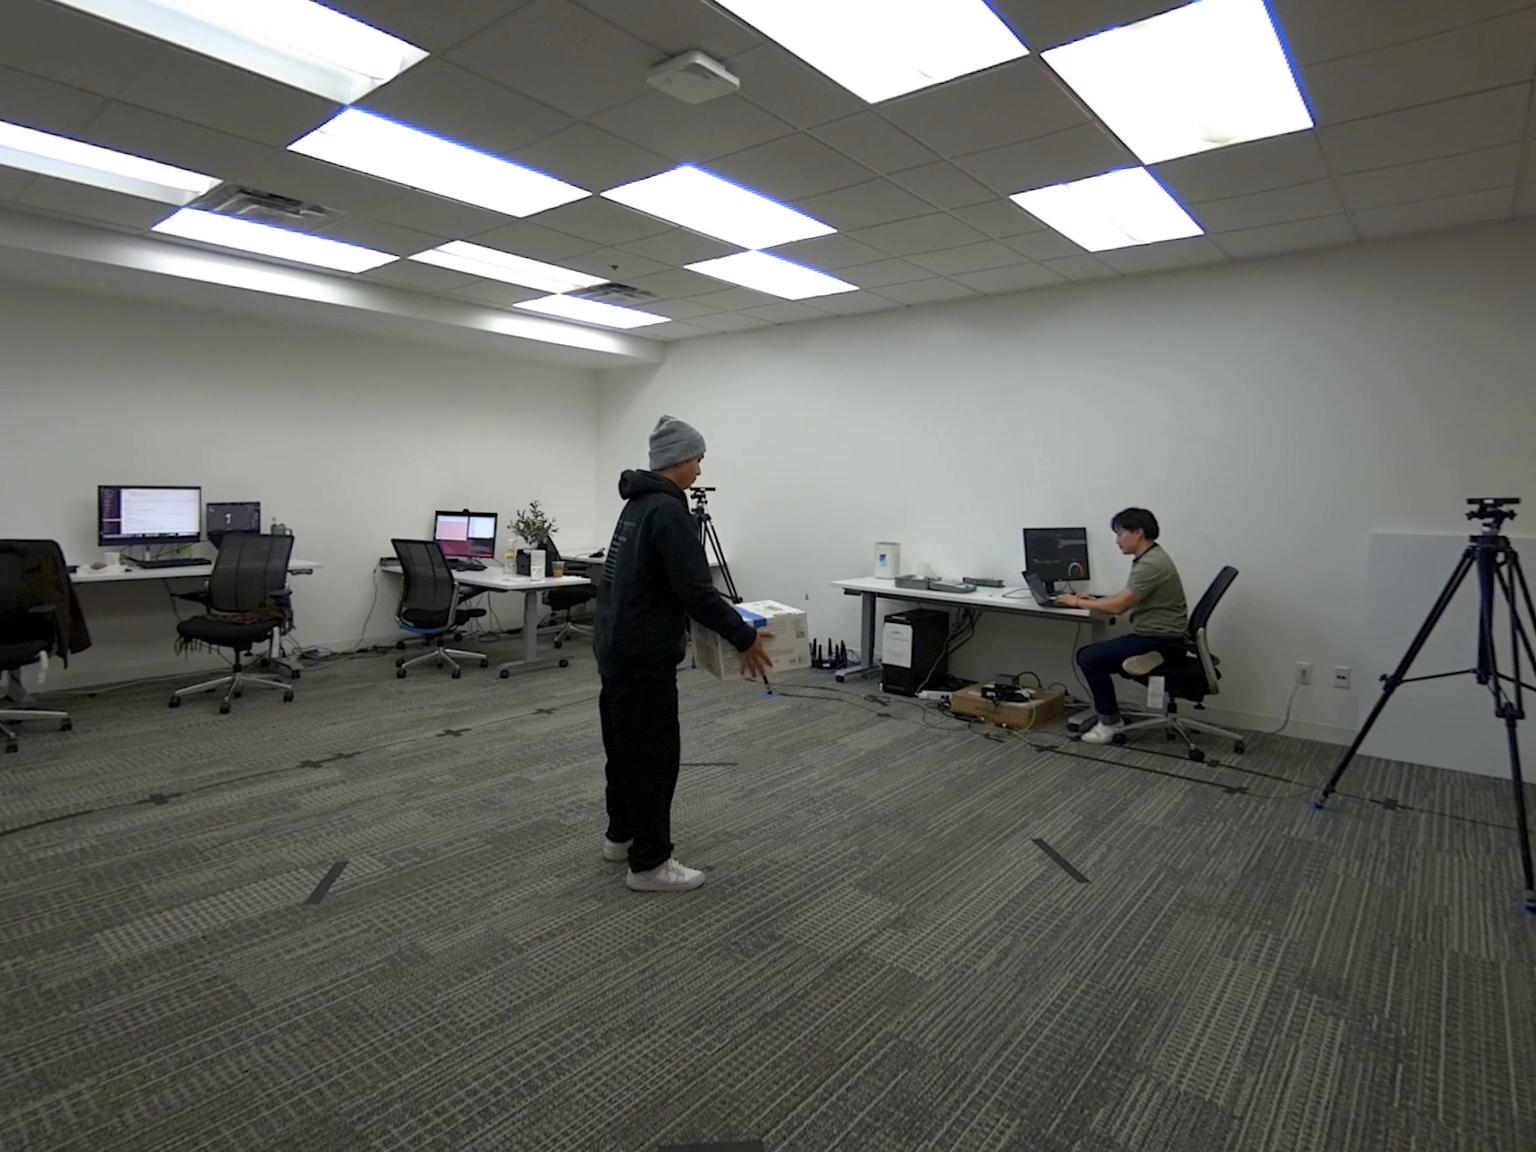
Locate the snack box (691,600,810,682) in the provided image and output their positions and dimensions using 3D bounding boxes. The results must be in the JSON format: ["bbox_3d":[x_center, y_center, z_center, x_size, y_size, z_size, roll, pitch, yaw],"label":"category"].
[{"bbox_3d":[-0.088,0.238,3.198,0.335,0.204,0.414,-8,7,-17],"label":"snack box"}]
